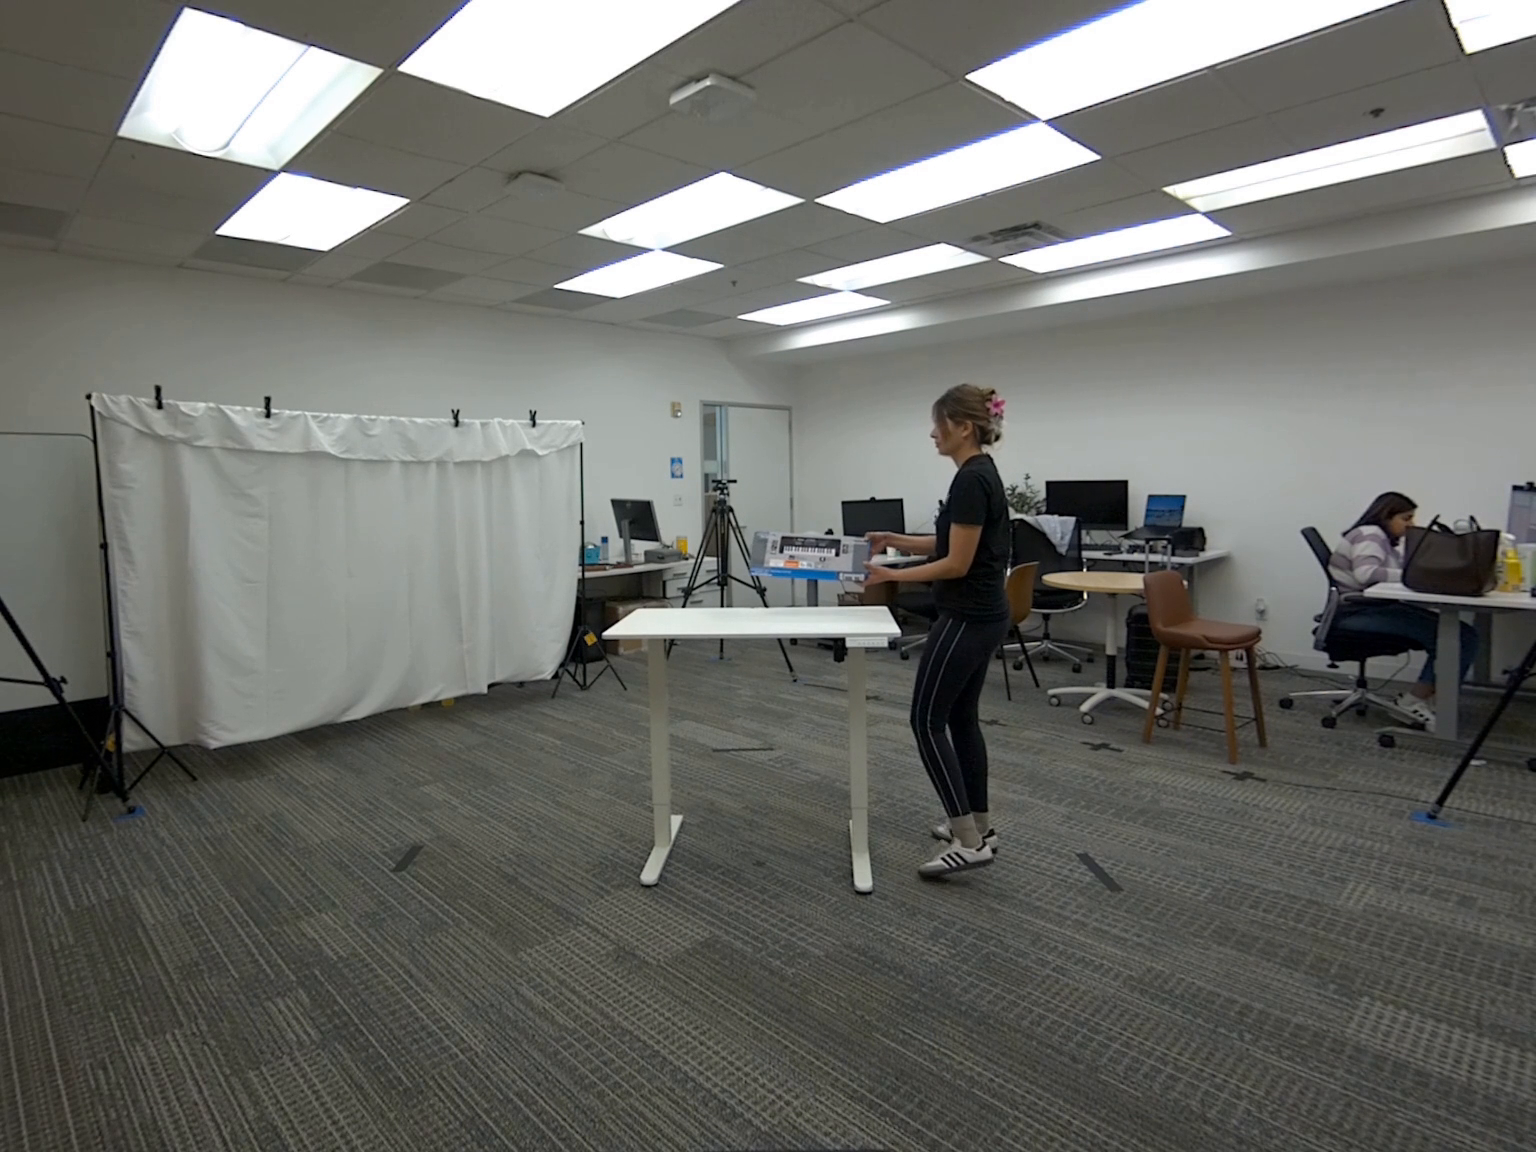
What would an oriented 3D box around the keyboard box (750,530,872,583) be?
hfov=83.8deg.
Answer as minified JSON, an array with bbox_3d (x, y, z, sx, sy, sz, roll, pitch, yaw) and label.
[{"bbox_3d":[0.163,-0.076,3.214,0.441,0.179,0.057,3,-40,10],"label":"keyboard box"}]
